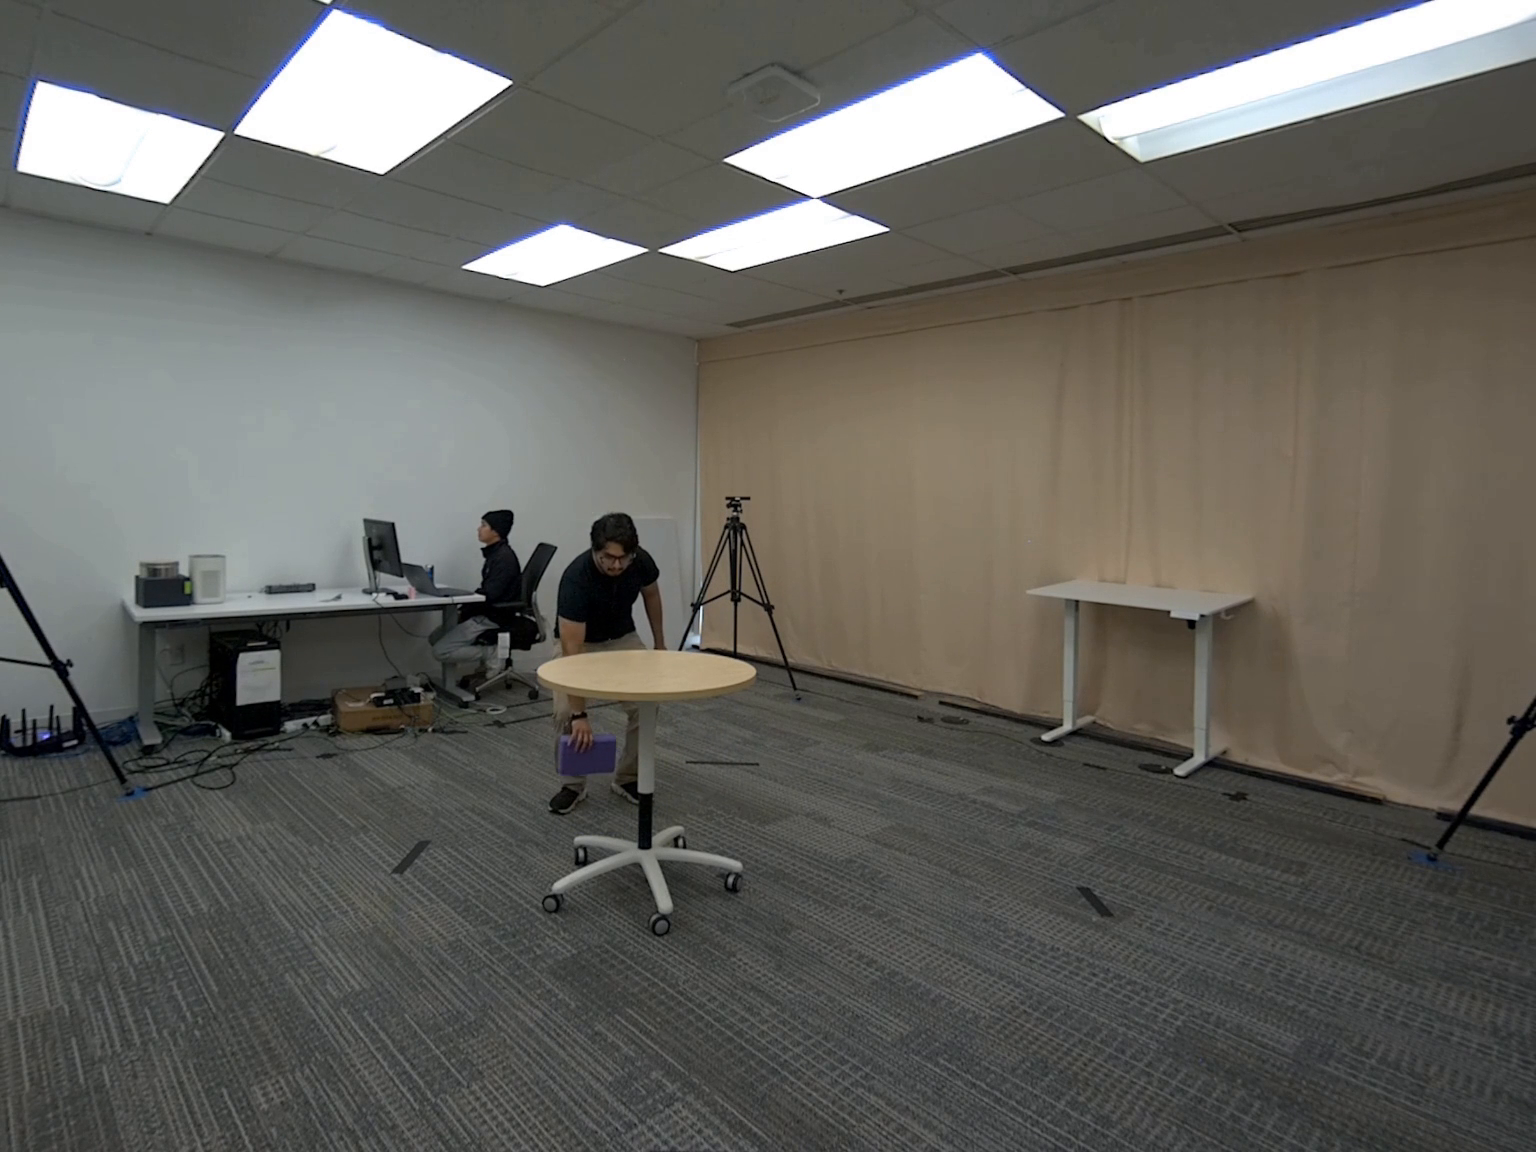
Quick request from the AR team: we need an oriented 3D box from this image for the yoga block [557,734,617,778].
[{"bbox_3d":[-0.774,0.743,3.507,0.226,0.148,0.078,1,5,-18],"label":"yoga block"}]
